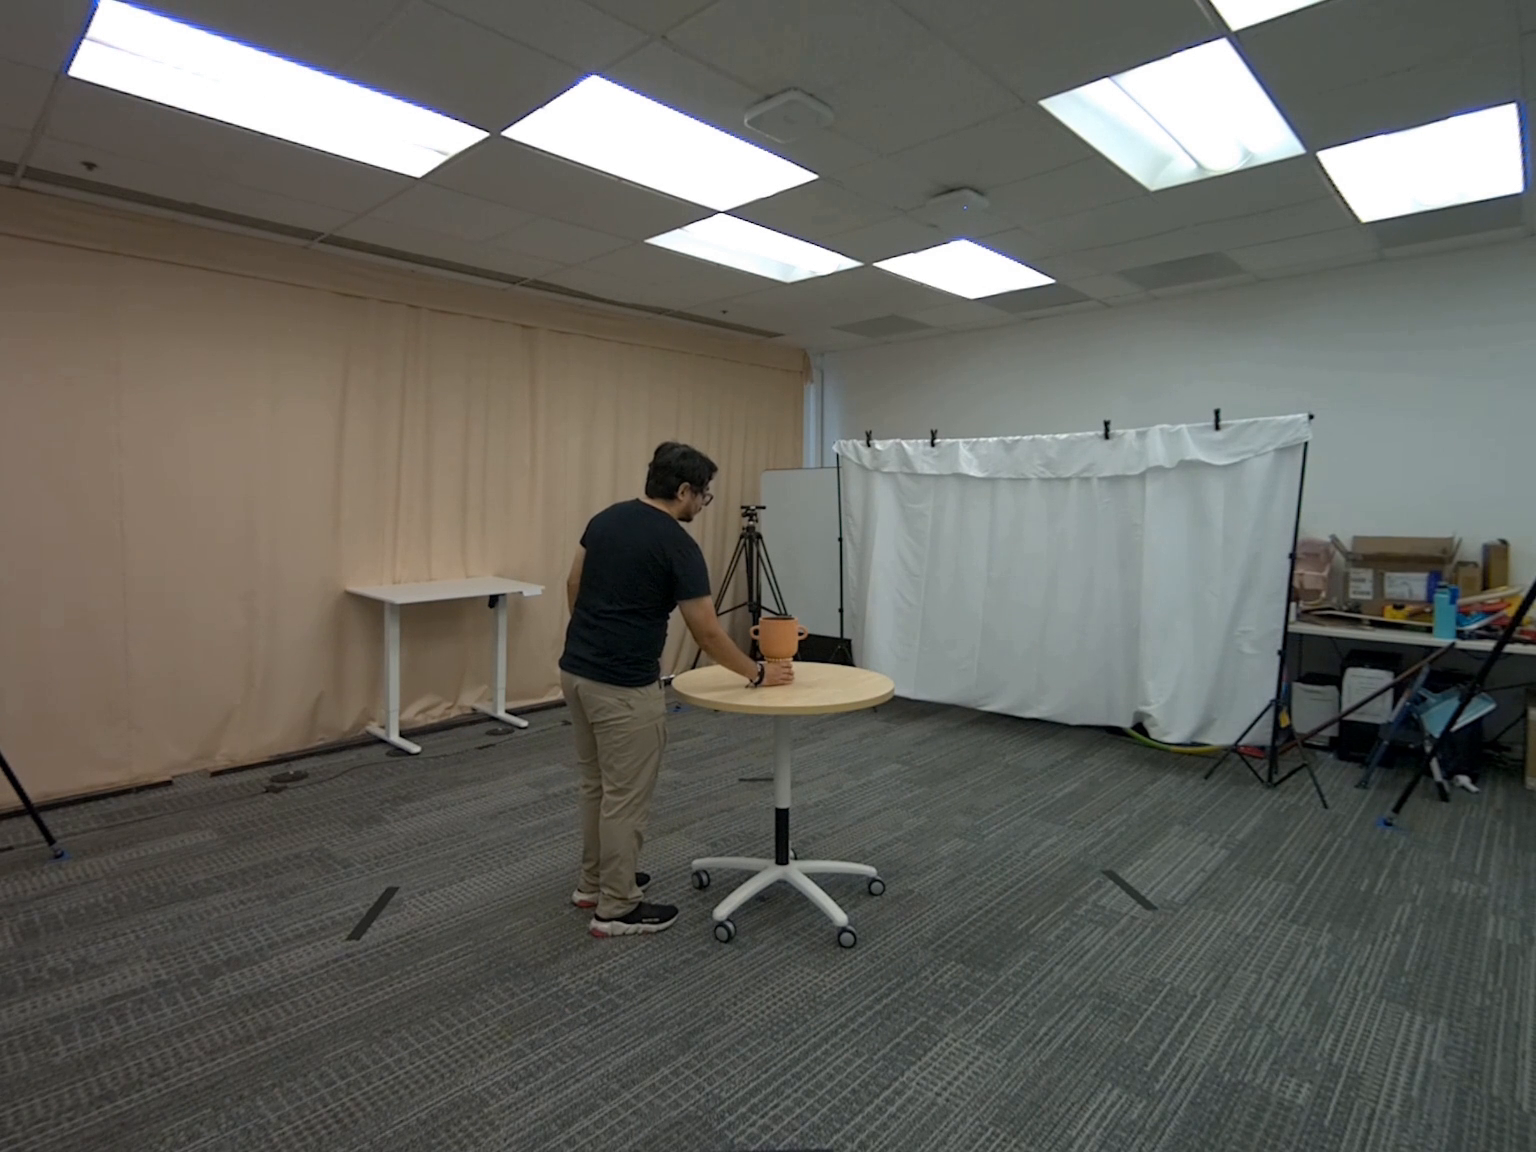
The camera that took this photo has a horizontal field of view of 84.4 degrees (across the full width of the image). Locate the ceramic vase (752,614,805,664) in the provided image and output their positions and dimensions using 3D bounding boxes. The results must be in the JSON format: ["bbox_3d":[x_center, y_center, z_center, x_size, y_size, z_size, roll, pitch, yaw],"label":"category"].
[{"bbox_3d":[0.043,0.257,2.893,0.164,0.219,0.130,2,4,37],"label":"ceramic vase"}]
